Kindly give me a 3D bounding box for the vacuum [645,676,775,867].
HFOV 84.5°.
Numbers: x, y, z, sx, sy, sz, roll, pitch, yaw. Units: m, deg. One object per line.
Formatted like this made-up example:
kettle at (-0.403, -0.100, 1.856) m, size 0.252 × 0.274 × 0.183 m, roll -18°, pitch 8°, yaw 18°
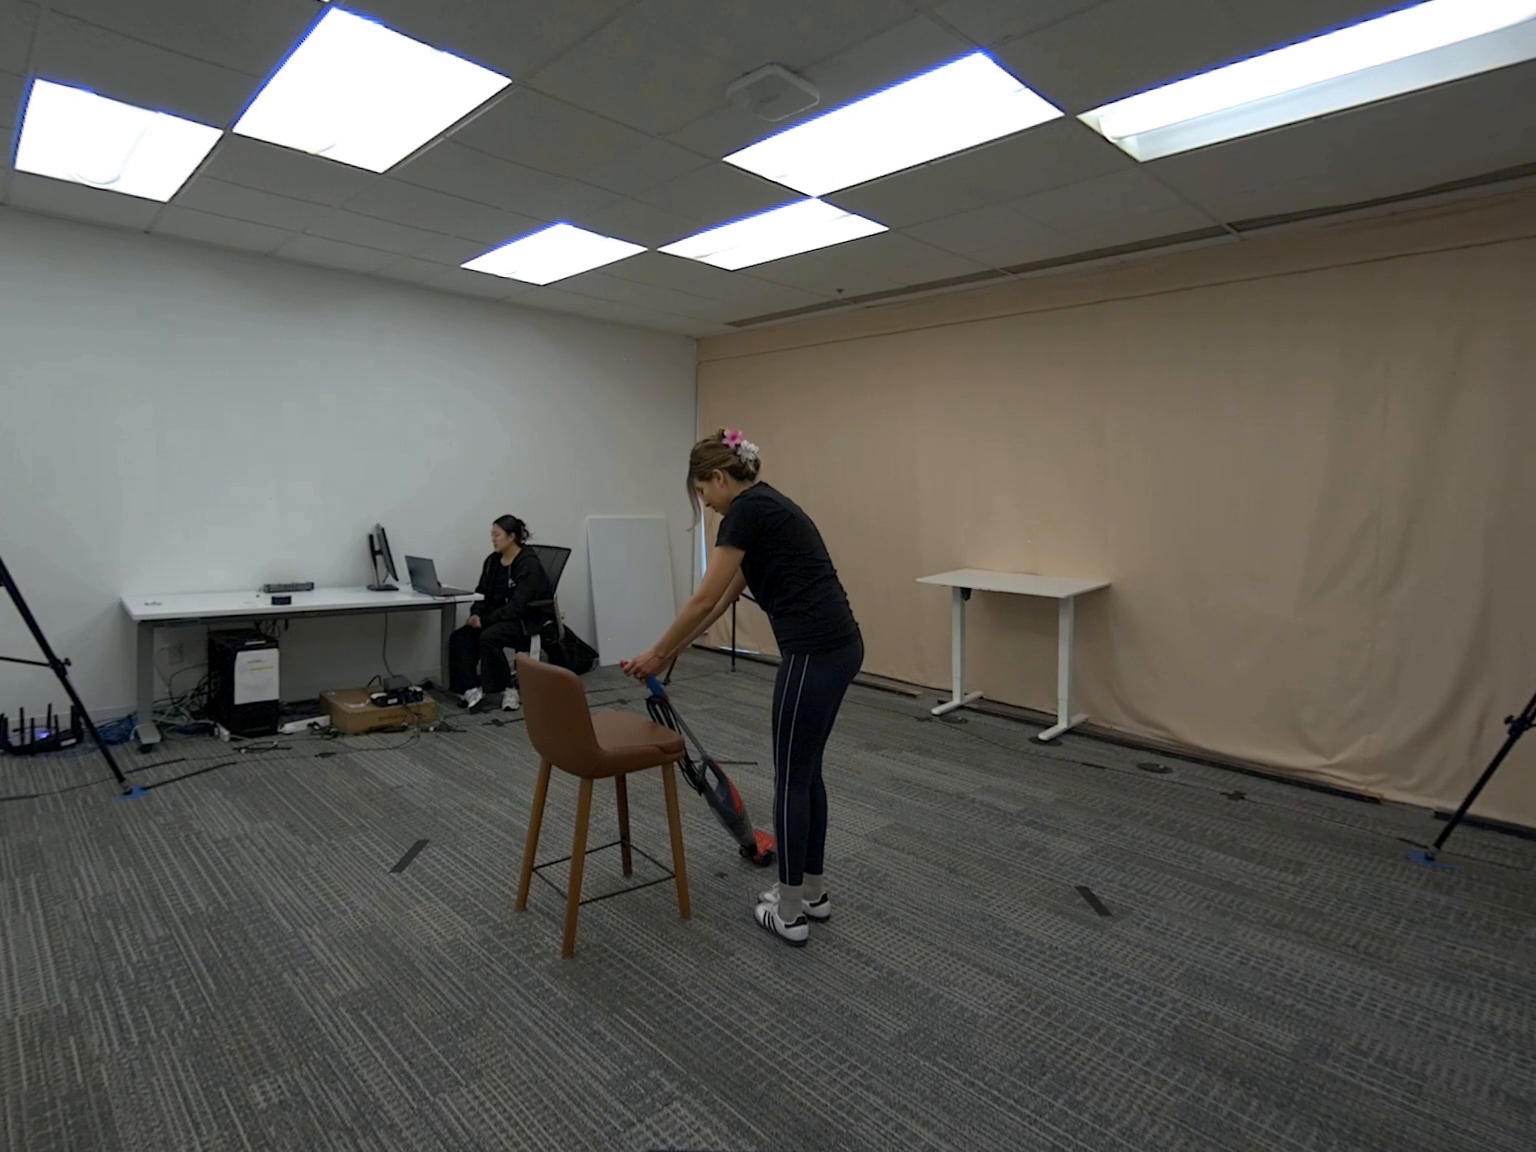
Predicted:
vacuum at (-0.257, 0.693, 3.033) m, size 0.258 × 1.022 × 0.144 m, roll -1°, pitch 42°, yaw 45°
